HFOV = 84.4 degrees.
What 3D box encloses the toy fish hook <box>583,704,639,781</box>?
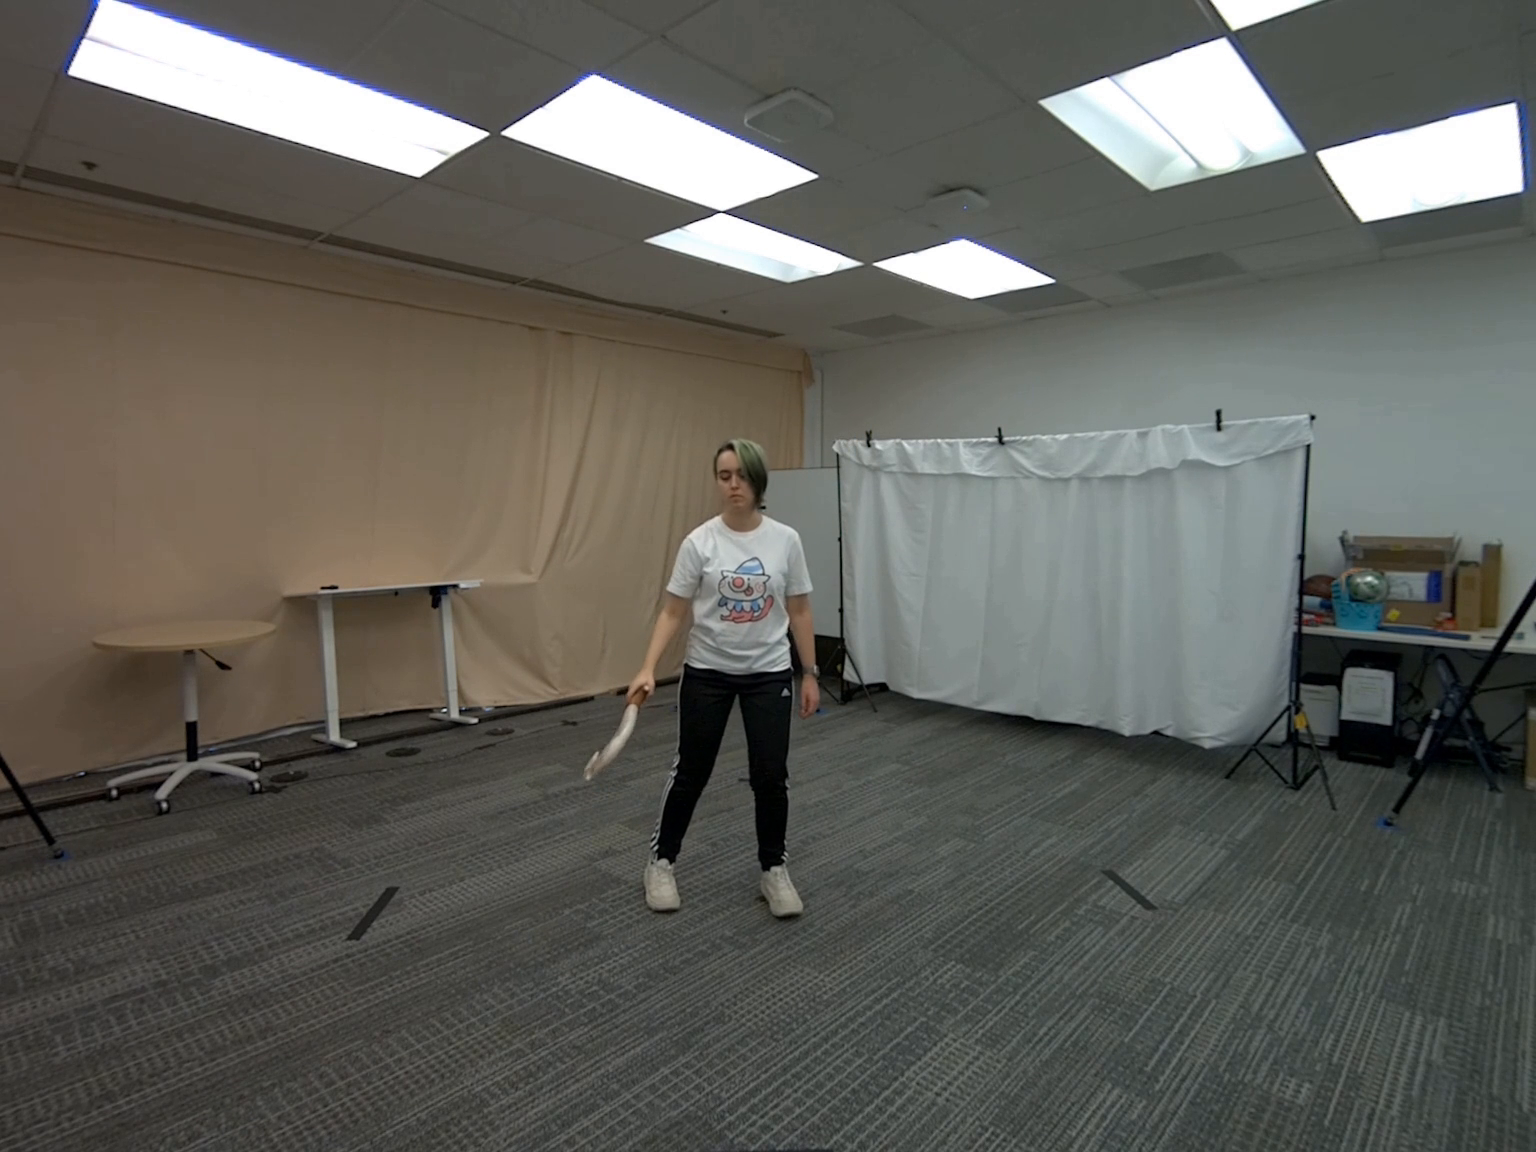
[{"bbox_3d":[-0.463,0.462,2.643,0.226,0.048,0.508,-42,10,16],"label":"toy fish hook"}]
